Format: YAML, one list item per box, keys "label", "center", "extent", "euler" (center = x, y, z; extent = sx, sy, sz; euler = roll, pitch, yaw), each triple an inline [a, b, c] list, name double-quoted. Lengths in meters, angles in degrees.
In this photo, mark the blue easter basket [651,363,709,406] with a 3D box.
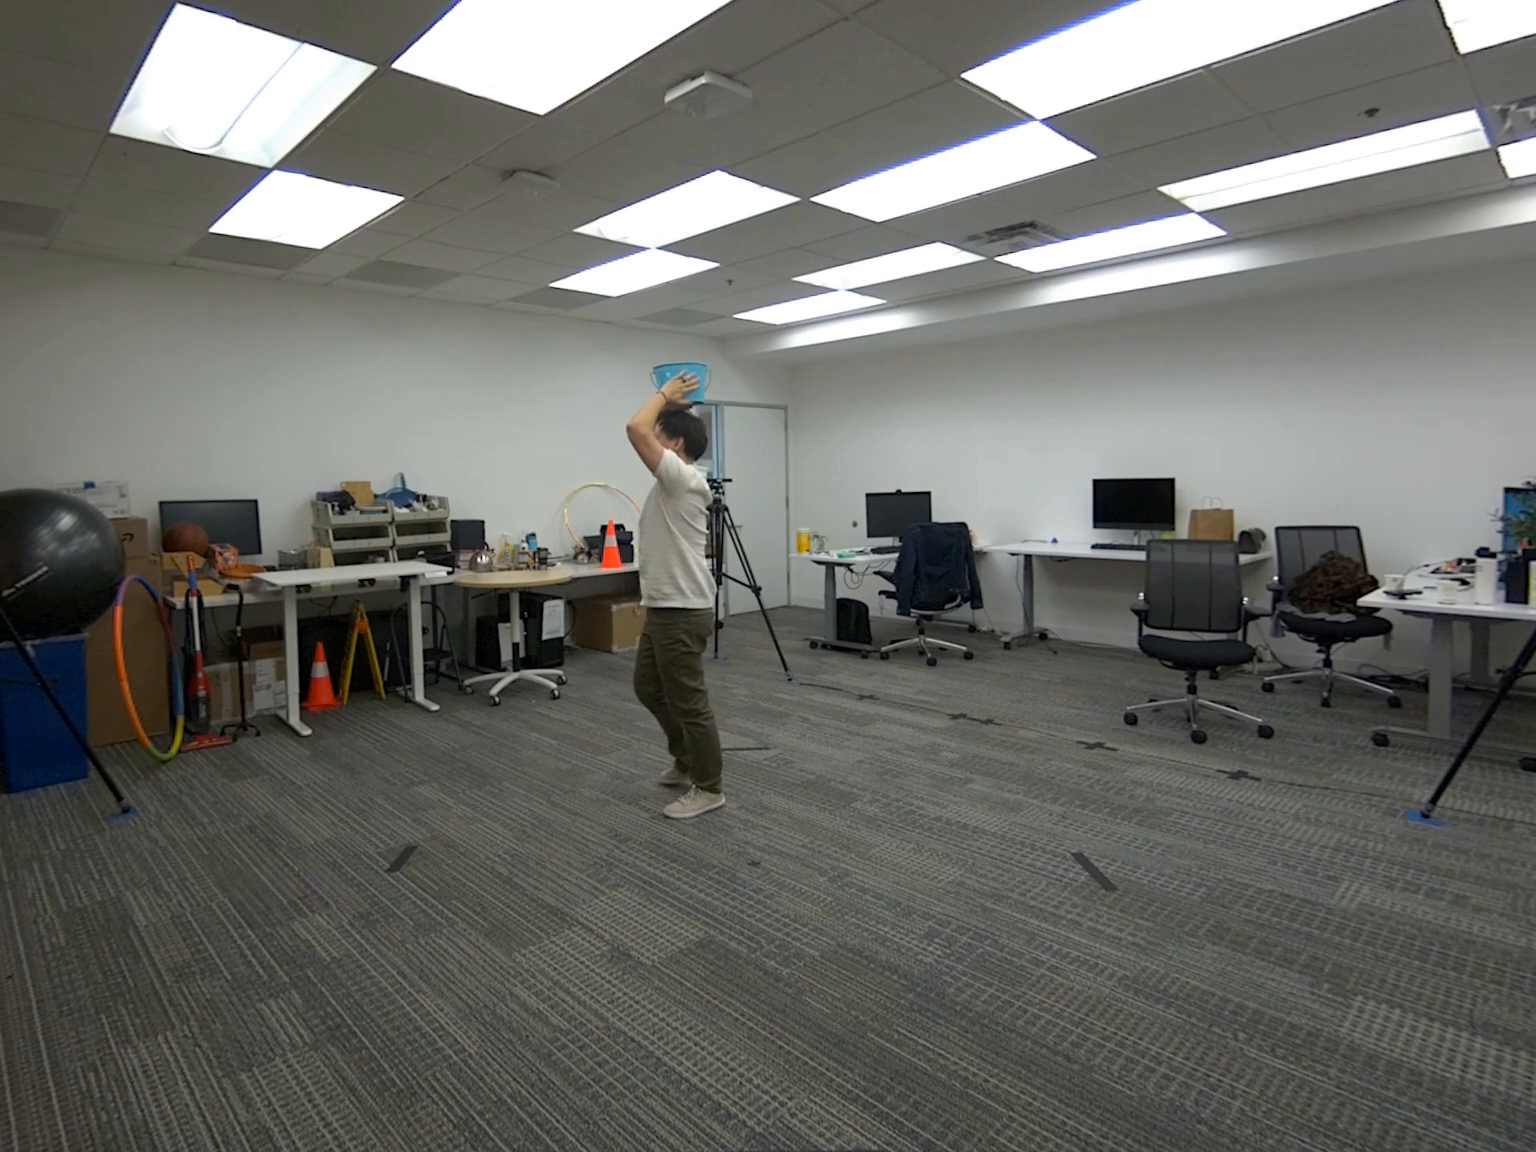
- label: "blue easter basket"
  center: [-0.362, -0.796, 3.563]
  extent: [0.243, 0.155, 0.244]
  euler: [-4, 3, -1]
